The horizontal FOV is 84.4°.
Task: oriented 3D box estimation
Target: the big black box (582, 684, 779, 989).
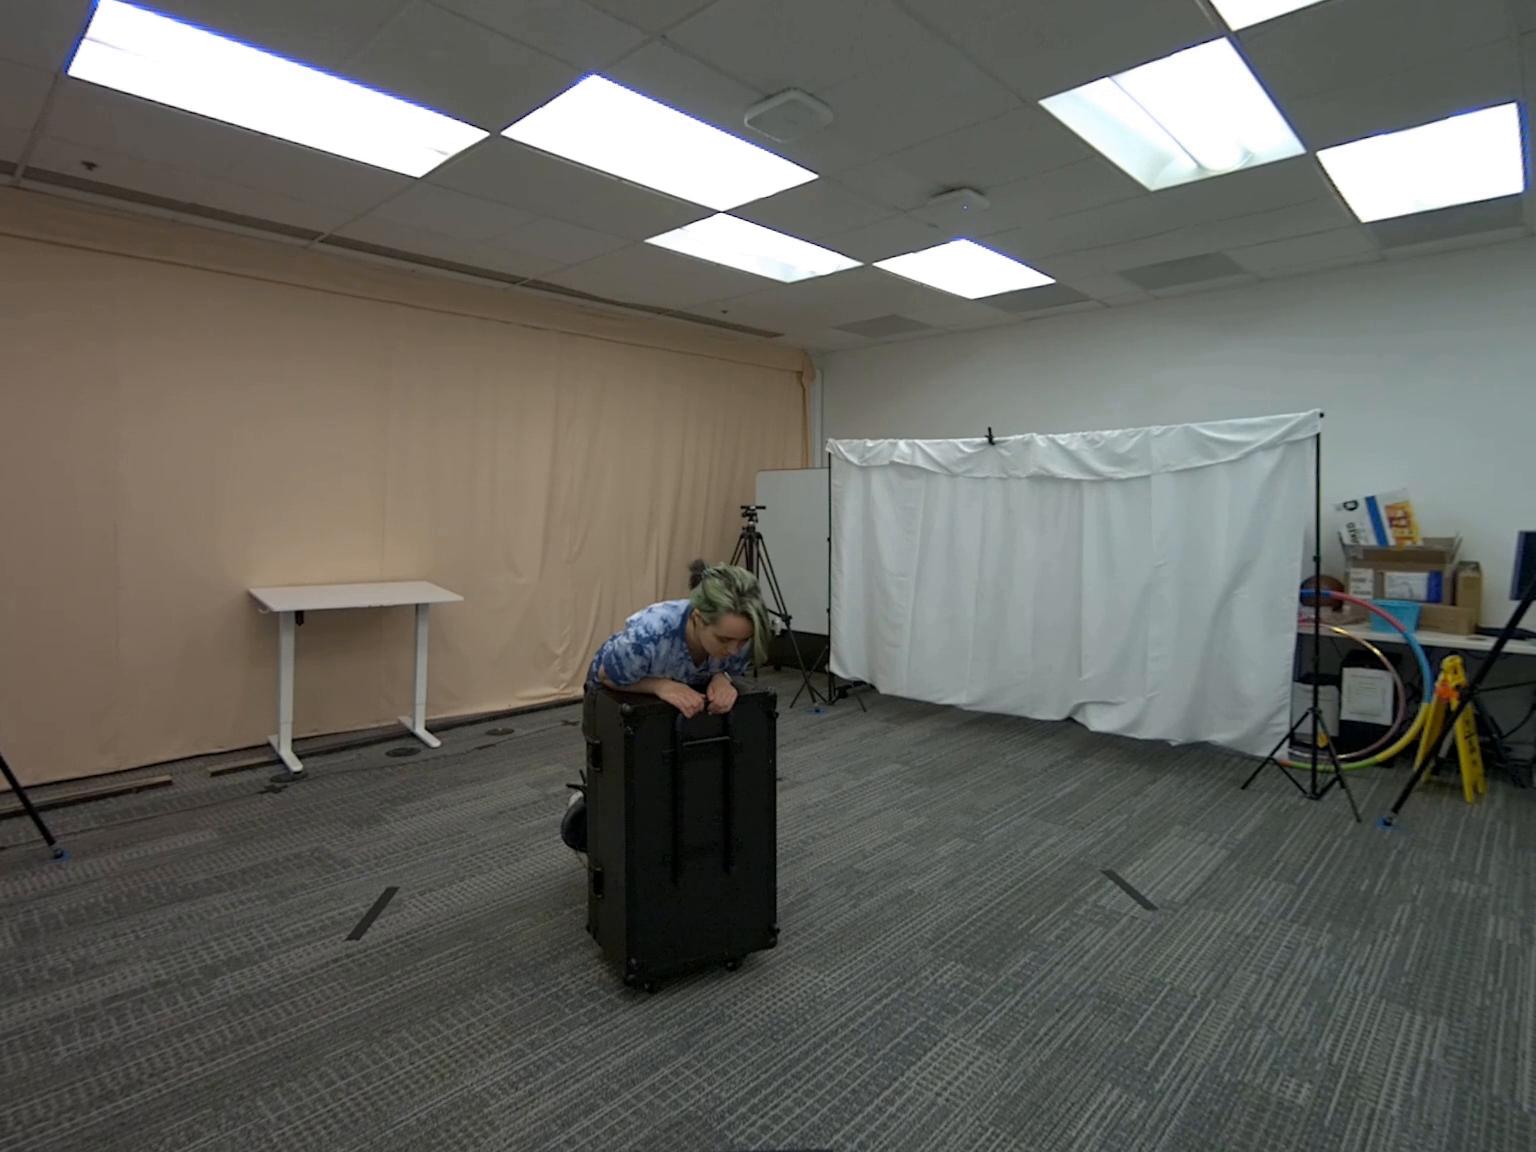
[{"bbox_3d":[-0.258,0.707,2.539,0.508,0.859,0.407,-2,4,-28],"label":"big black box"}]
